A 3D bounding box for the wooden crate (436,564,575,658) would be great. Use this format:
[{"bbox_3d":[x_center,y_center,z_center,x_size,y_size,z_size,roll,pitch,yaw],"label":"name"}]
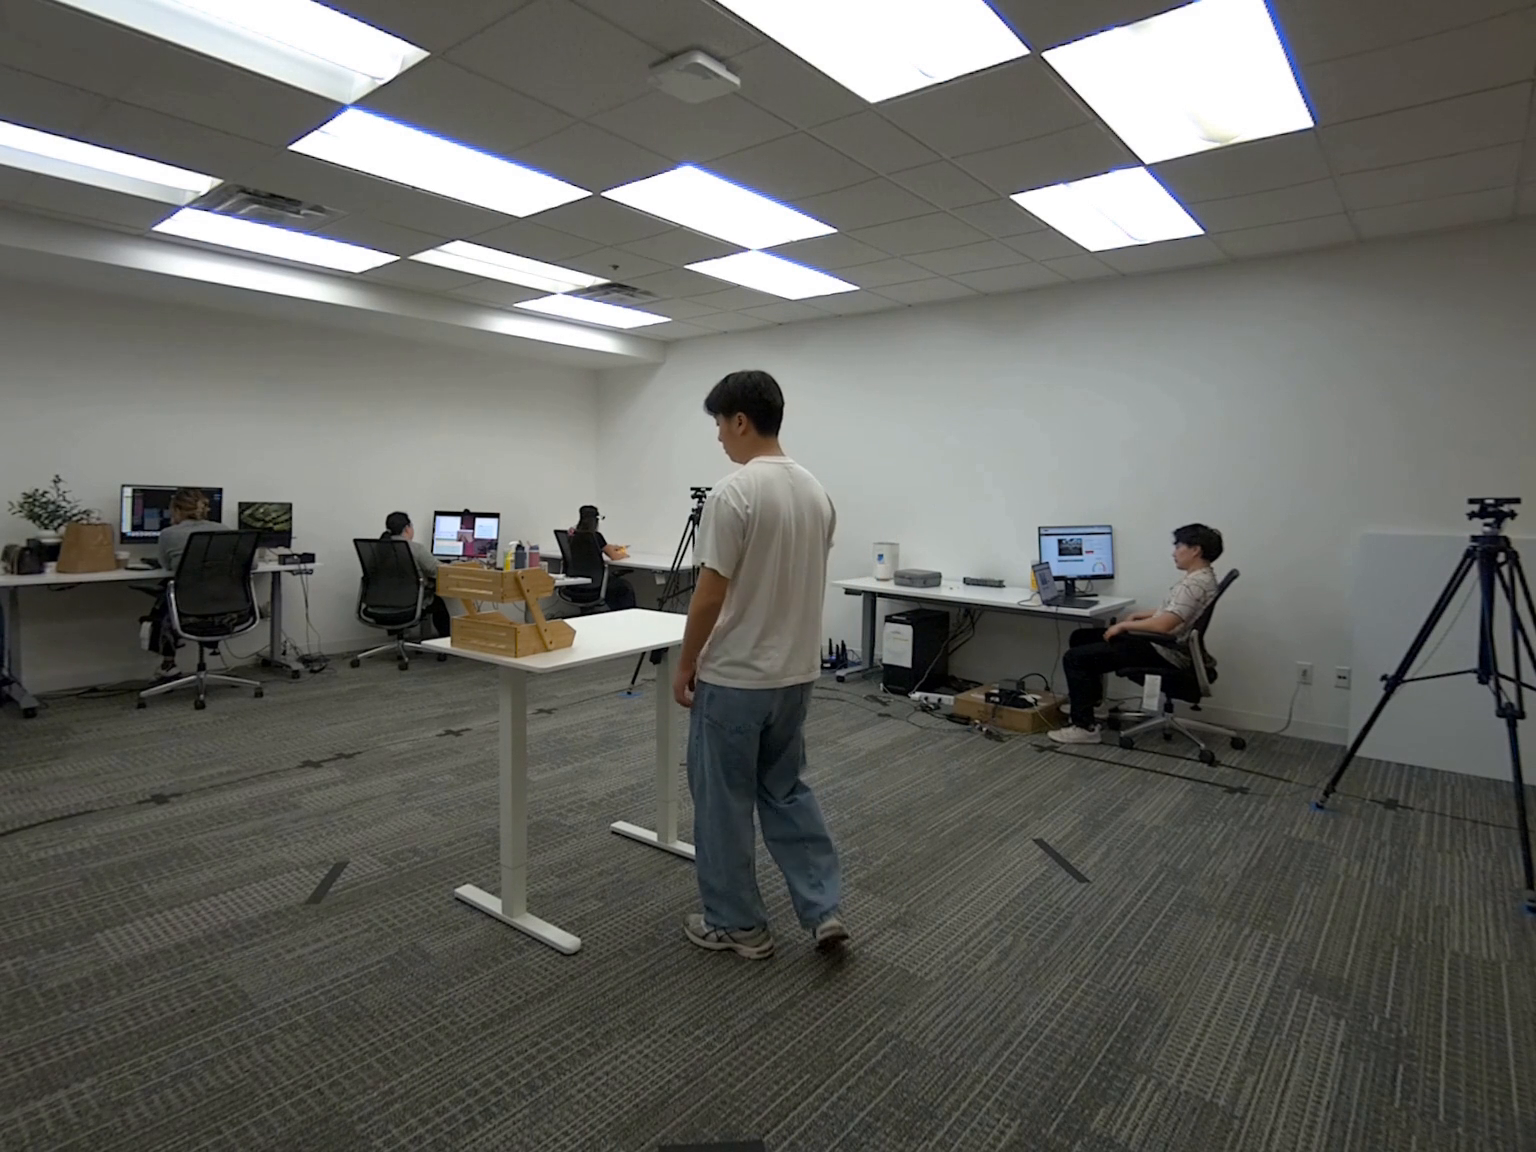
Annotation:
[{"bbox_3d":[-0.819,0.090,2.650,0.334,0.272,0.294,4,6,32],"label":"wooden crate"}]
